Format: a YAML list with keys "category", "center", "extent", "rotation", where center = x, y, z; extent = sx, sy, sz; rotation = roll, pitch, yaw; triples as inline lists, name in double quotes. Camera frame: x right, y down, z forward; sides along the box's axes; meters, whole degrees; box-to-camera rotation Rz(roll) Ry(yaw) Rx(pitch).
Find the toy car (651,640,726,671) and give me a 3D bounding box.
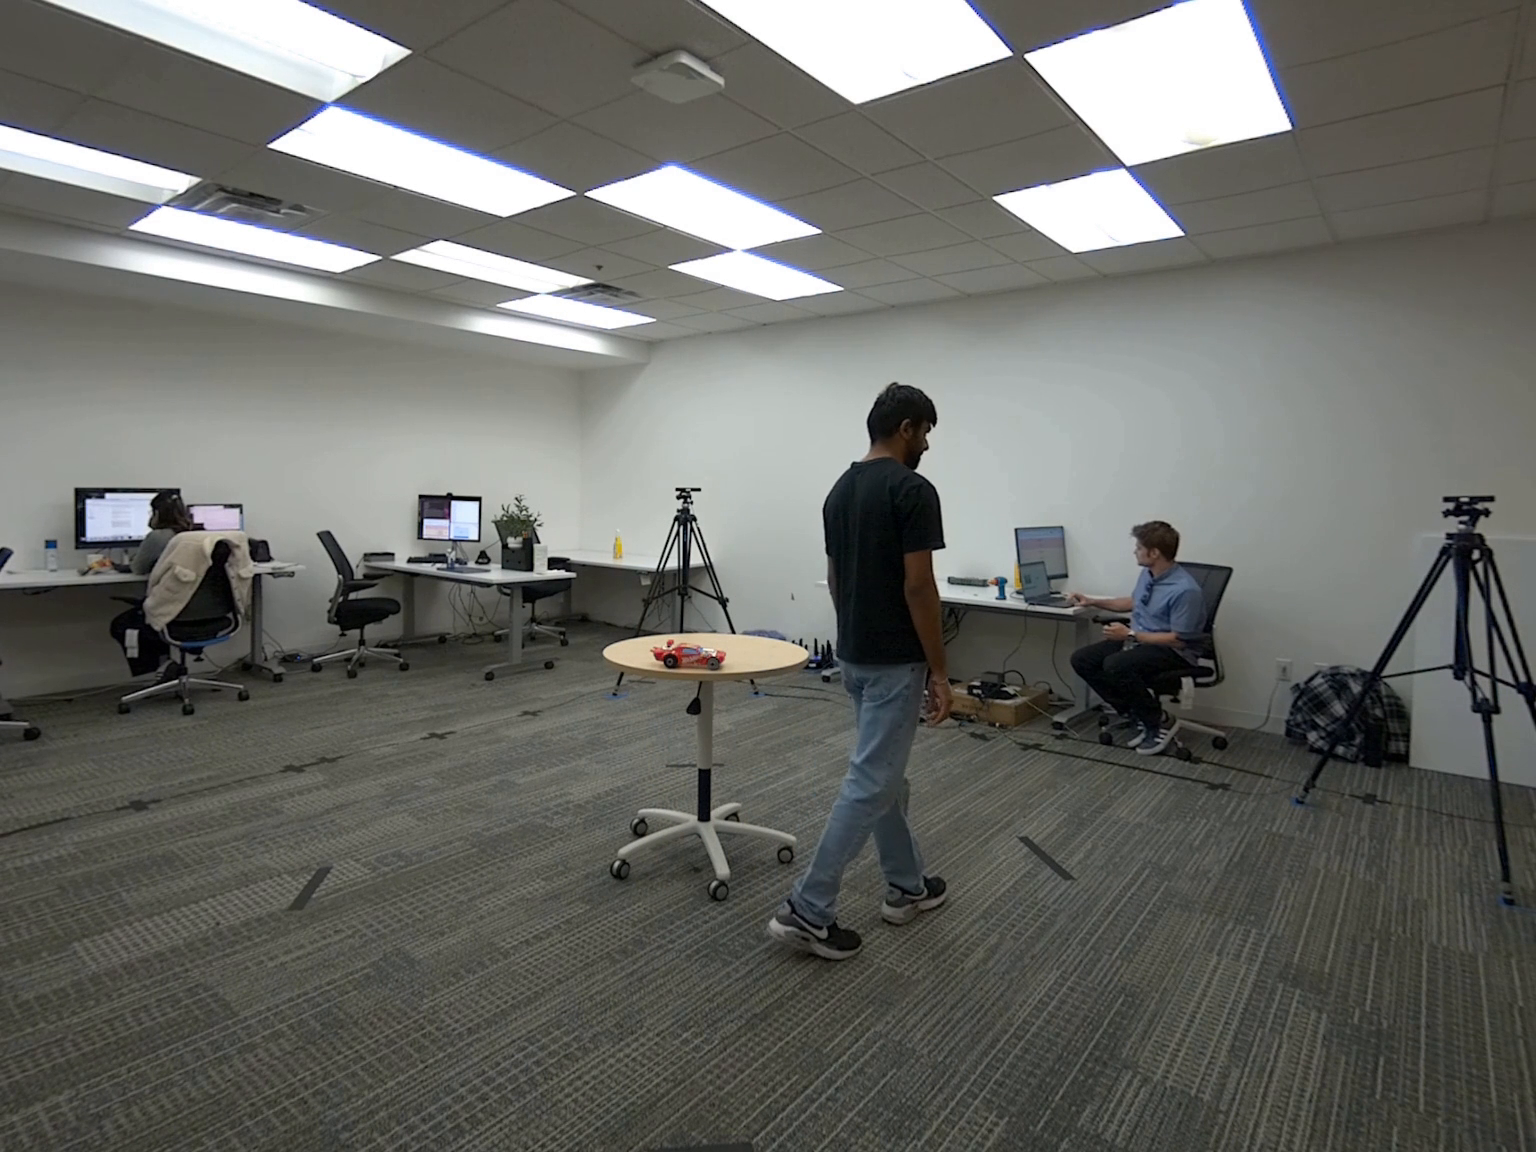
- category: "toy car"
  center: [-0.281, 0.272, 2.907]
  extent: [0.257, 0.083, 0.130]
  rotation: [13, 6, 6]
